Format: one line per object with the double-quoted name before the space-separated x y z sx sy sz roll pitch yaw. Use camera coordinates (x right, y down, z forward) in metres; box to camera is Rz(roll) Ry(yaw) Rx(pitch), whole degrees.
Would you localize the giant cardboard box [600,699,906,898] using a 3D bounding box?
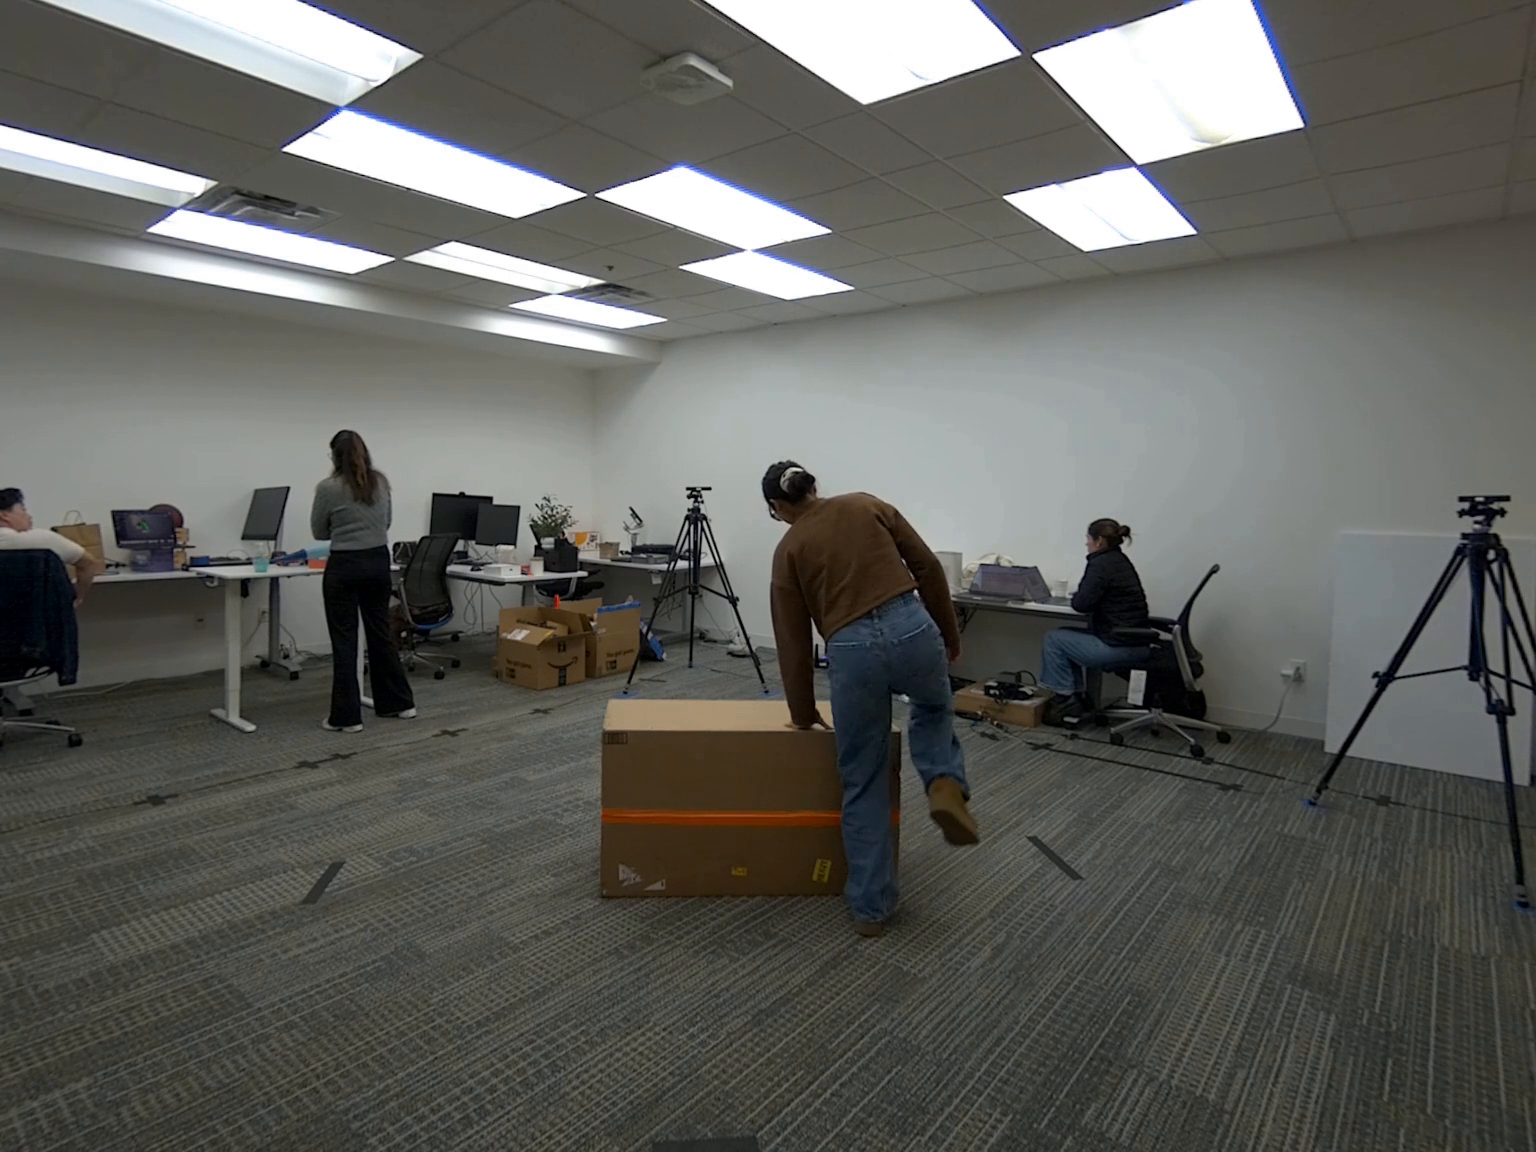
"giant cardboard box" -0.091 0.785 3.093 1.023 0.582 0.450 1 3 -4
